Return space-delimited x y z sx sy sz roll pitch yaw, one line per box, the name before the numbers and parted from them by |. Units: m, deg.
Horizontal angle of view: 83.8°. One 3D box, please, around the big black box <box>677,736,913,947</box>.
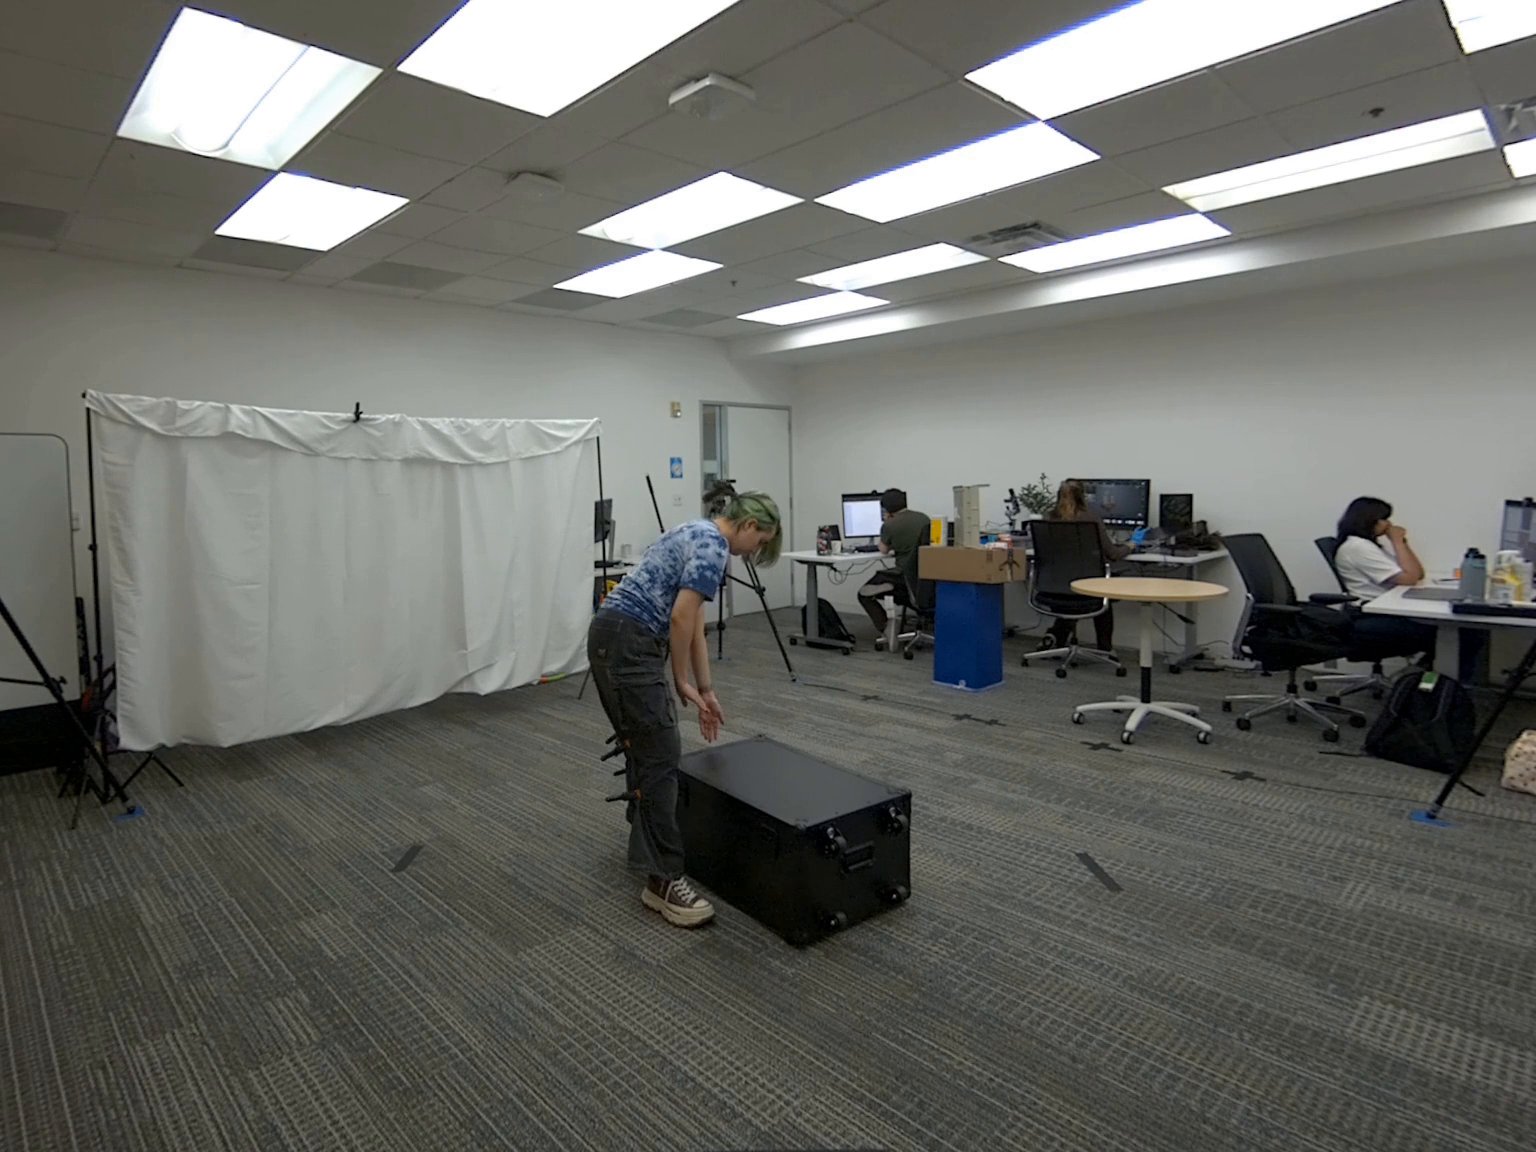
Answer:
big black box | 0.060 0.877 2.933 0.508 0.395 0.887 -5 7 -36
